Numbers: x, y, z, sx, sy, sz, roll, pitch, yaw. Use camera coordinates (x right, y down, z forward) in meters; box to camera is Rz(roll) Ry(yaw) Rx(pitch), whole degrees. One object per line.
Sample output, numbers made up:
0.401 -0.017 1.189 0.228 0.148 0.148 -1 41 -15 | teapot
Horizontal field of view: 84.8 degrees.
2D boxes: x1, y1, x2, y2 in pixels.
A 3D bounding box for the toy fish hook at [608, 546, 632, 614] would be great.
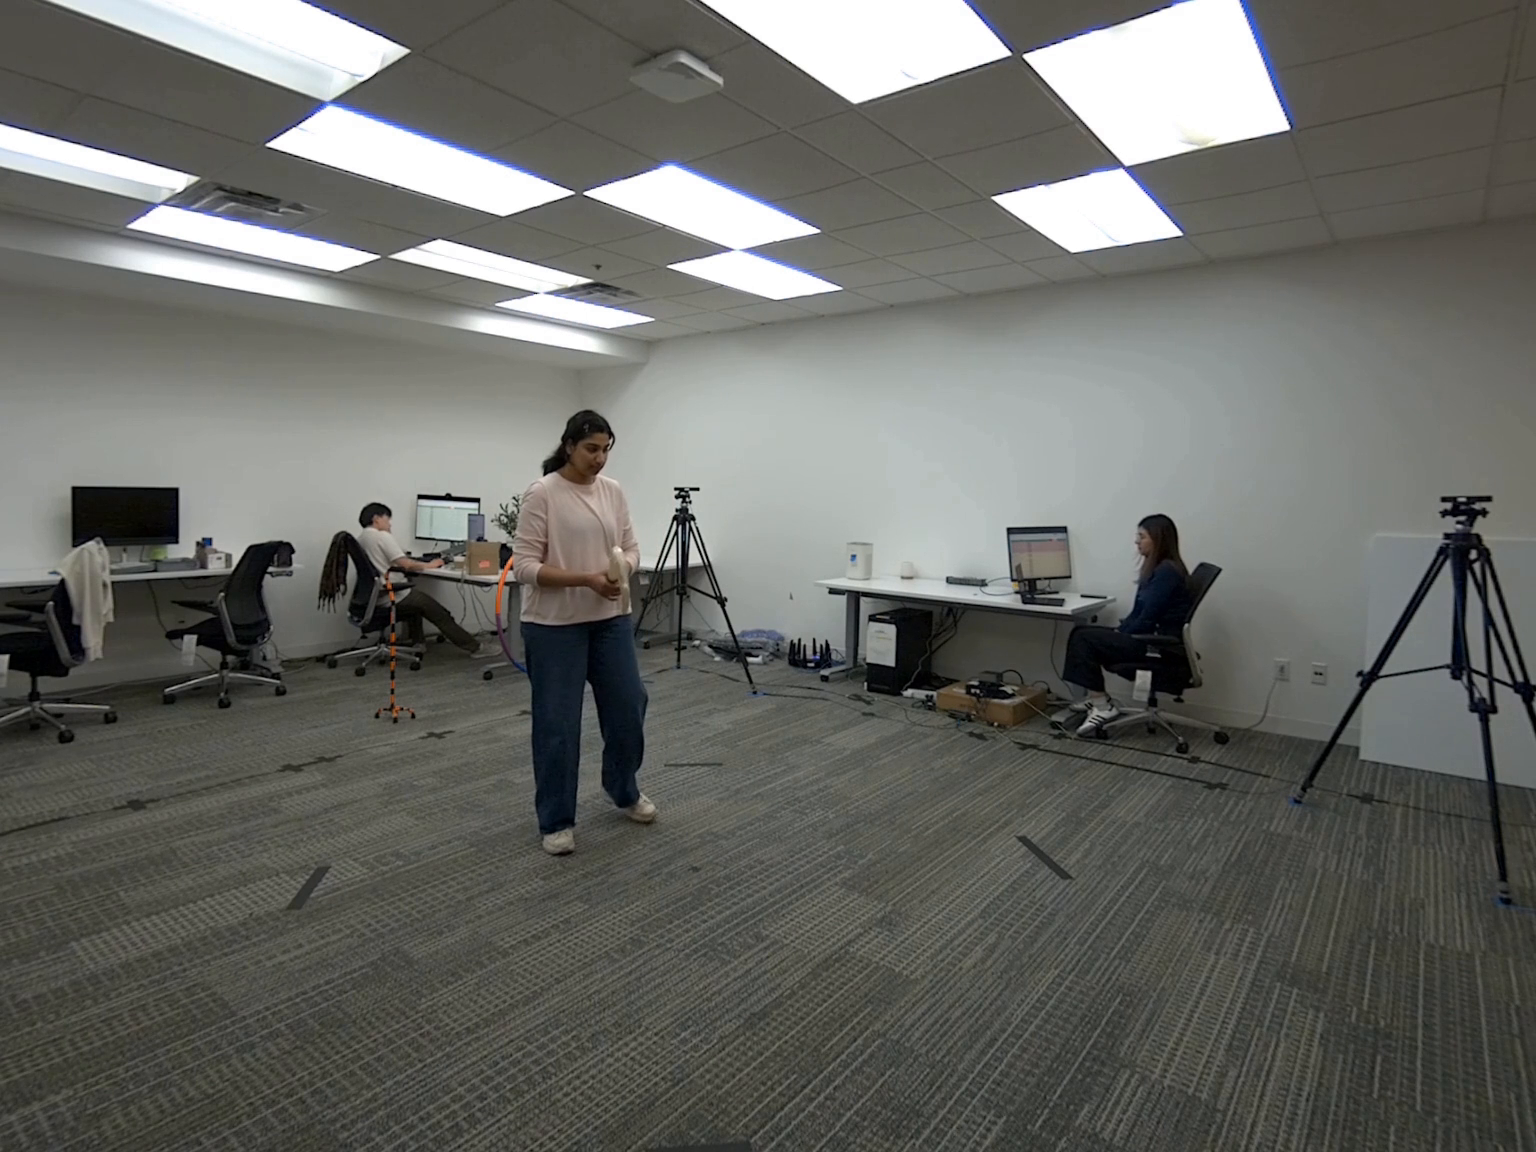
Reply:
-0.543 0.040 2.980 0.047 0.227 0.507 0 -12 -16 | toy fish hook
